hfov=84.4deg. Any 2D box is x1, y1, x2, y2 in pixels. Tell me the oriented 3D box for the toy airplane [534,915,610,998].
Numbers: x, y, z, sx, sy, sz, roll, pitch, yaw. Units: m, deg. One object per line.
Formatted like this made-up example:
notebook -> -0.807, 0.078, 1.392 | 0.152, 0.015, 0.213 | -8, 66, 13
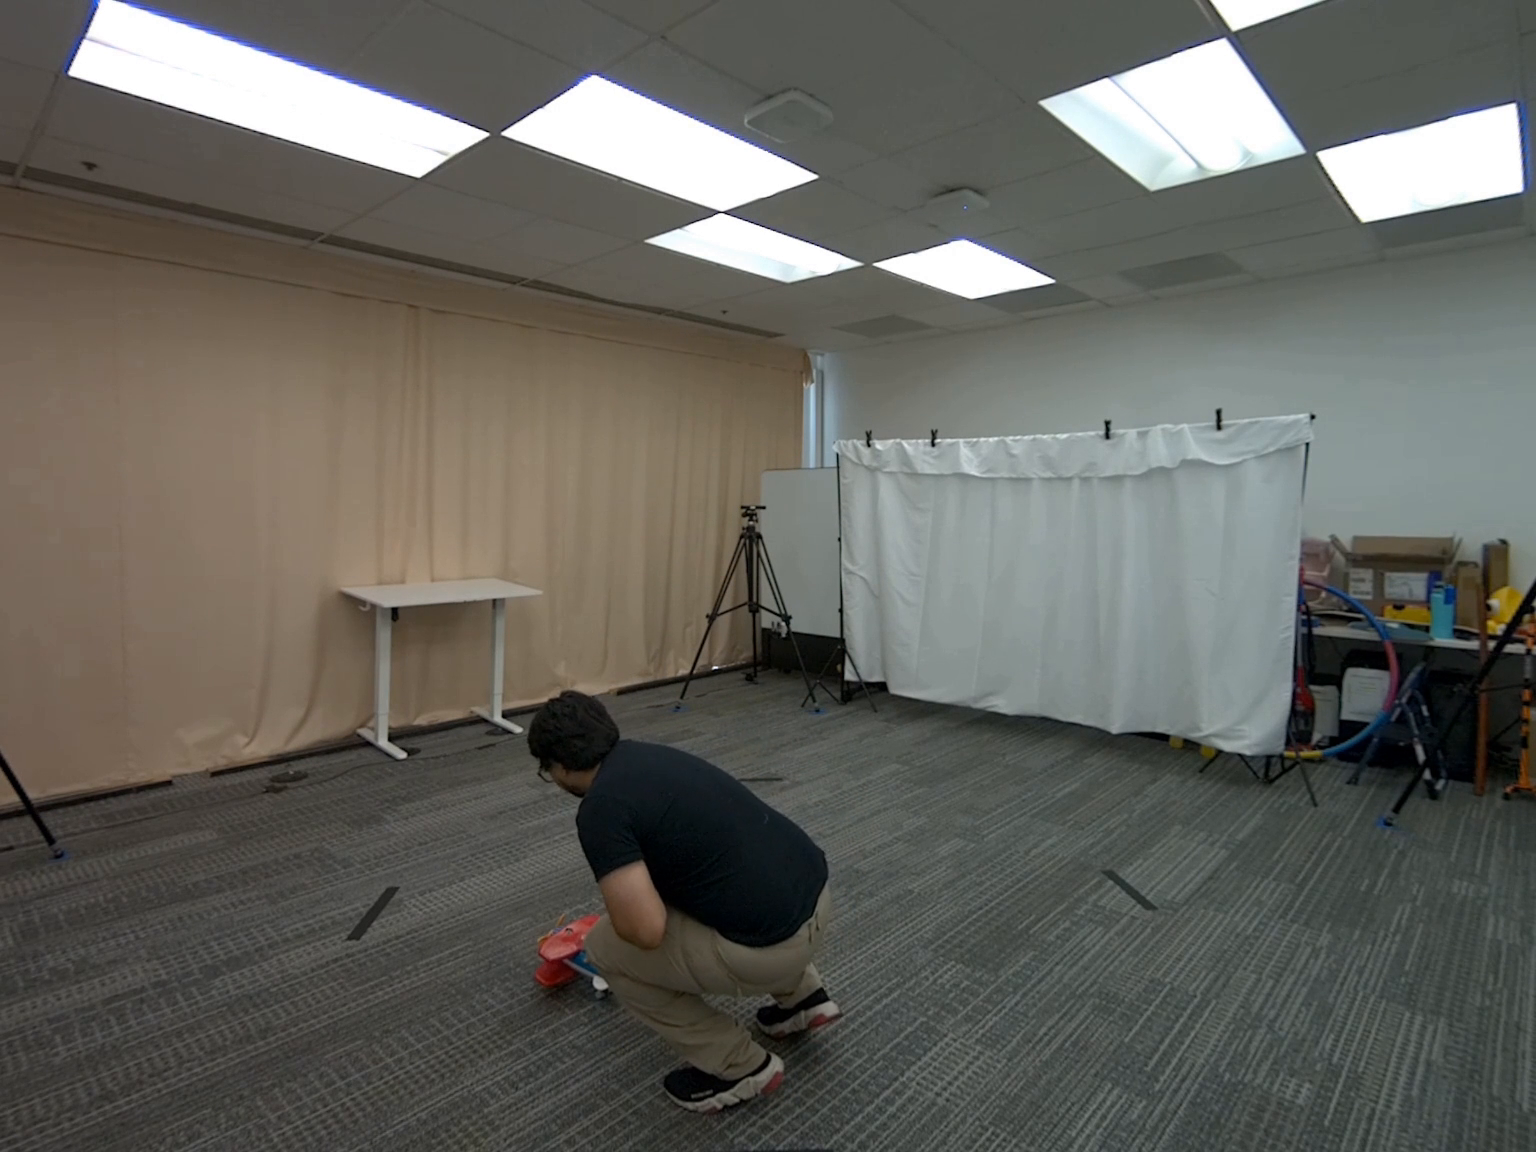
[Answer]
toy airplane -> -0.533, 1.118, 2.454 | 0.260, 0.156, 0.251 | -2, 4, 2
